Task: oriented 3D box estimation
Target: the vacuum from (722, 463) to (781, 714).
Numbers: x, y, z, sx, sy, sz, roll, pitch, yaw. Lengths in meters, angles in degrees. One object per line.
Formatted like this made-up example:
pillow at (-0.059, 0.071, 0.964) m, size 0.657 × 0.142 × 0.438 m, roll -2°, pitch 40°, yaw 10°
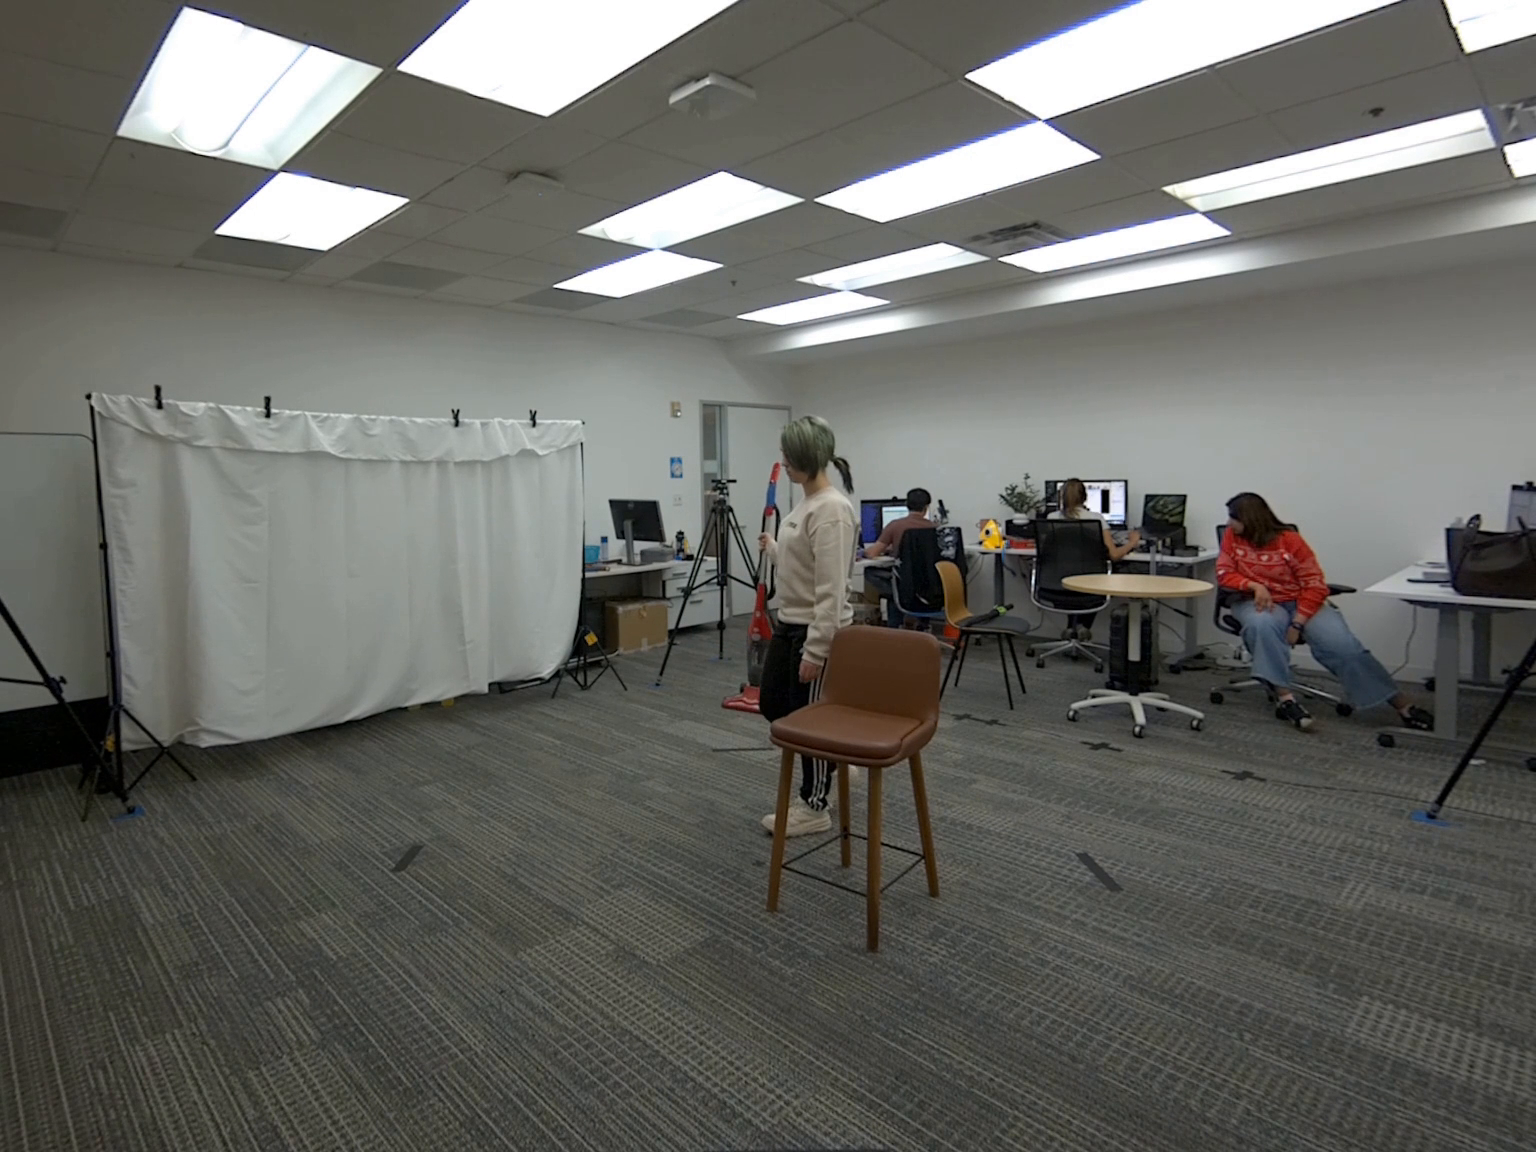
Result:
vacuum at (-0.018, 0.031, 3.804) m, size 0.256 × 1.050 × 0.142 m, roll 4°, pitch -1°, yaw 12°
